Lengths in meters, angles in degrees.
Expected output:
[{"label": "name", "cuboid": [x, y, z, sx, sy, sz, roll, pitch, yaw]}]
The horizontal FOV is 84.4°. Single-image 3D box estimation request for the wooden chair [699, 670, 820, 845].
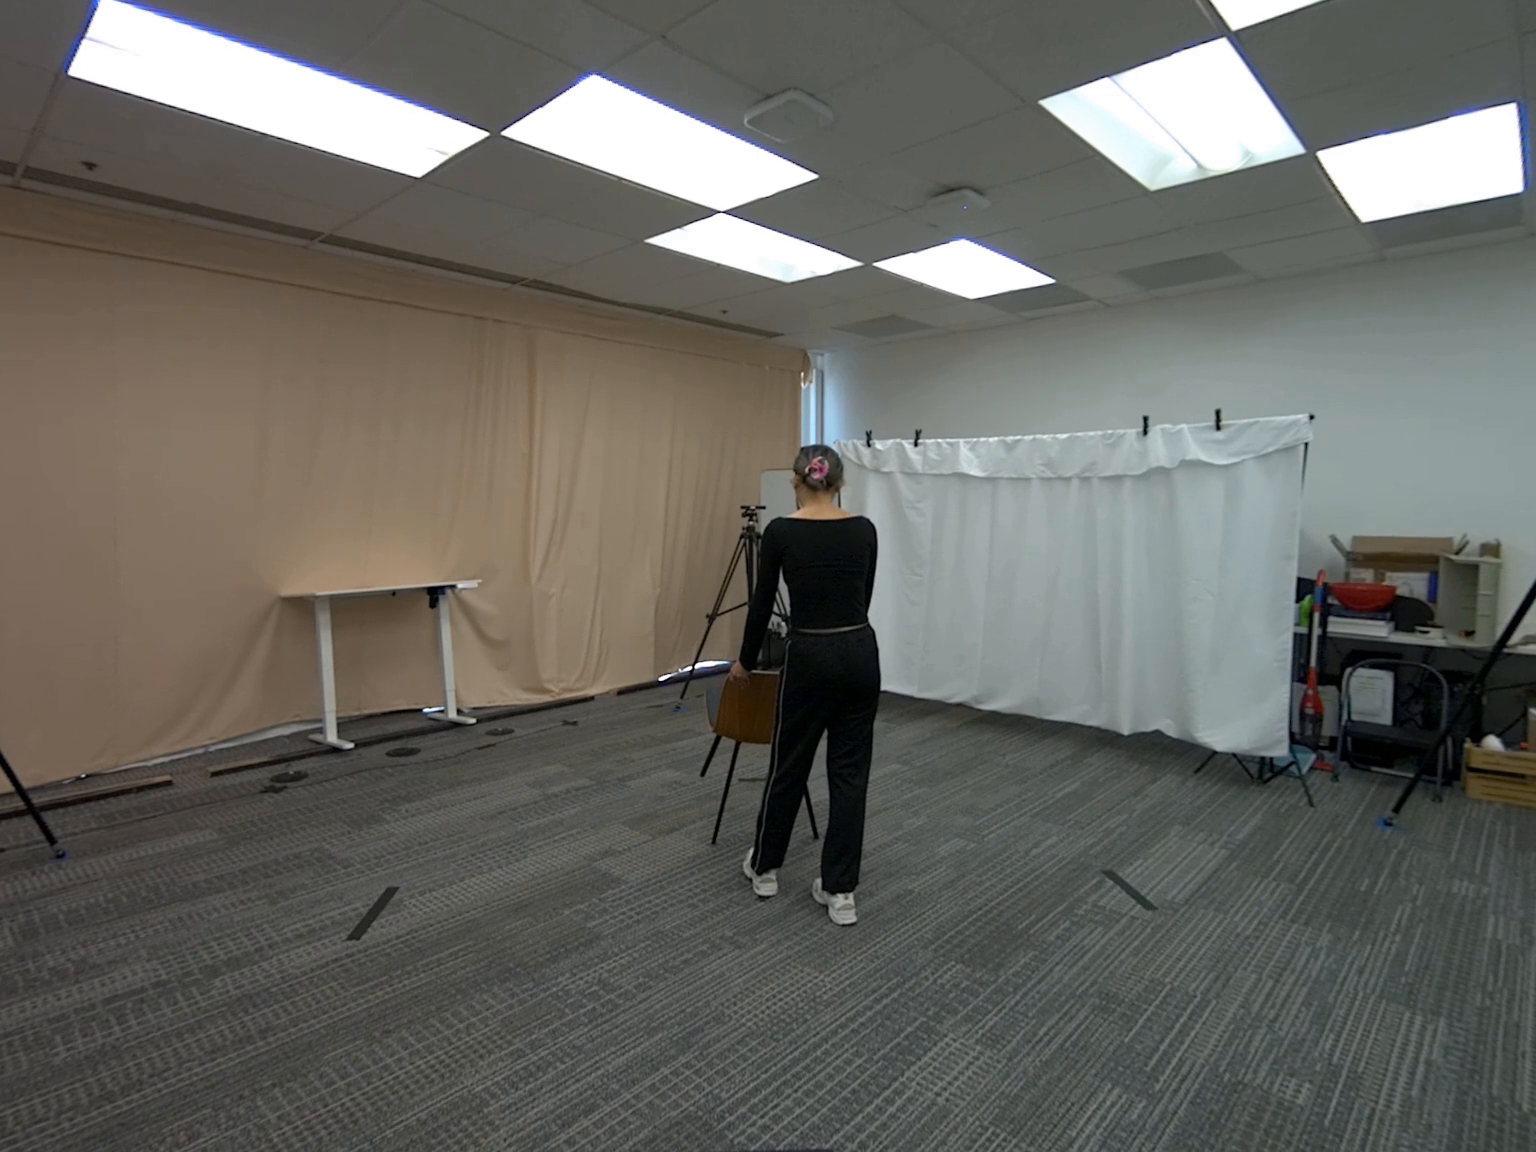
[{"label": "wooden chair", "cuboid": [-0.023, 0.617, 3.535, 0.474, 0.865, 0.535, -1, 28, -9]}]
